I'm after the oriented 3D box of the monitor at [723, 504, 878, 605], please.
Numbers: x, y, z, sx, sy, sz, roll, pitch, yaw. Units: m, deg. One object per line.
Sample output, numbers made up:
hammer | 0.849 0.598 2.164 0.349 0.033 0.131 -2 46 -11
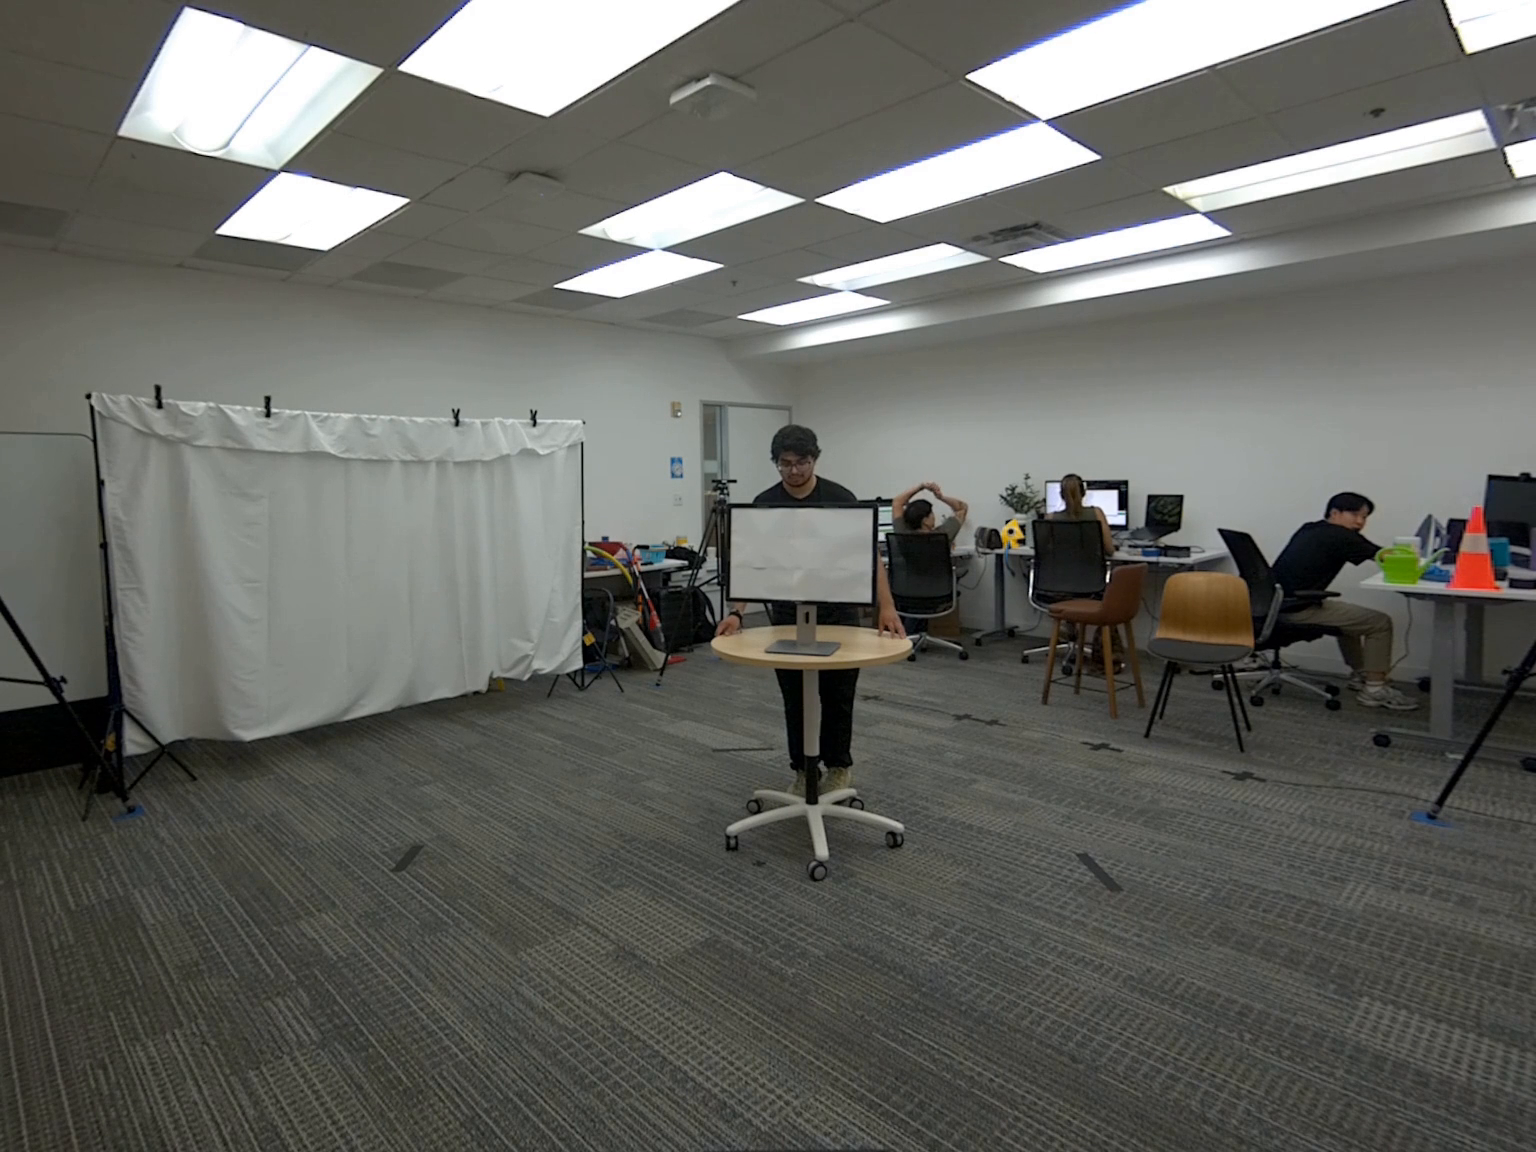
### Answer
monitor | 0.133 0.009 3.129 0.576 0.553 0.206 1 1 20
